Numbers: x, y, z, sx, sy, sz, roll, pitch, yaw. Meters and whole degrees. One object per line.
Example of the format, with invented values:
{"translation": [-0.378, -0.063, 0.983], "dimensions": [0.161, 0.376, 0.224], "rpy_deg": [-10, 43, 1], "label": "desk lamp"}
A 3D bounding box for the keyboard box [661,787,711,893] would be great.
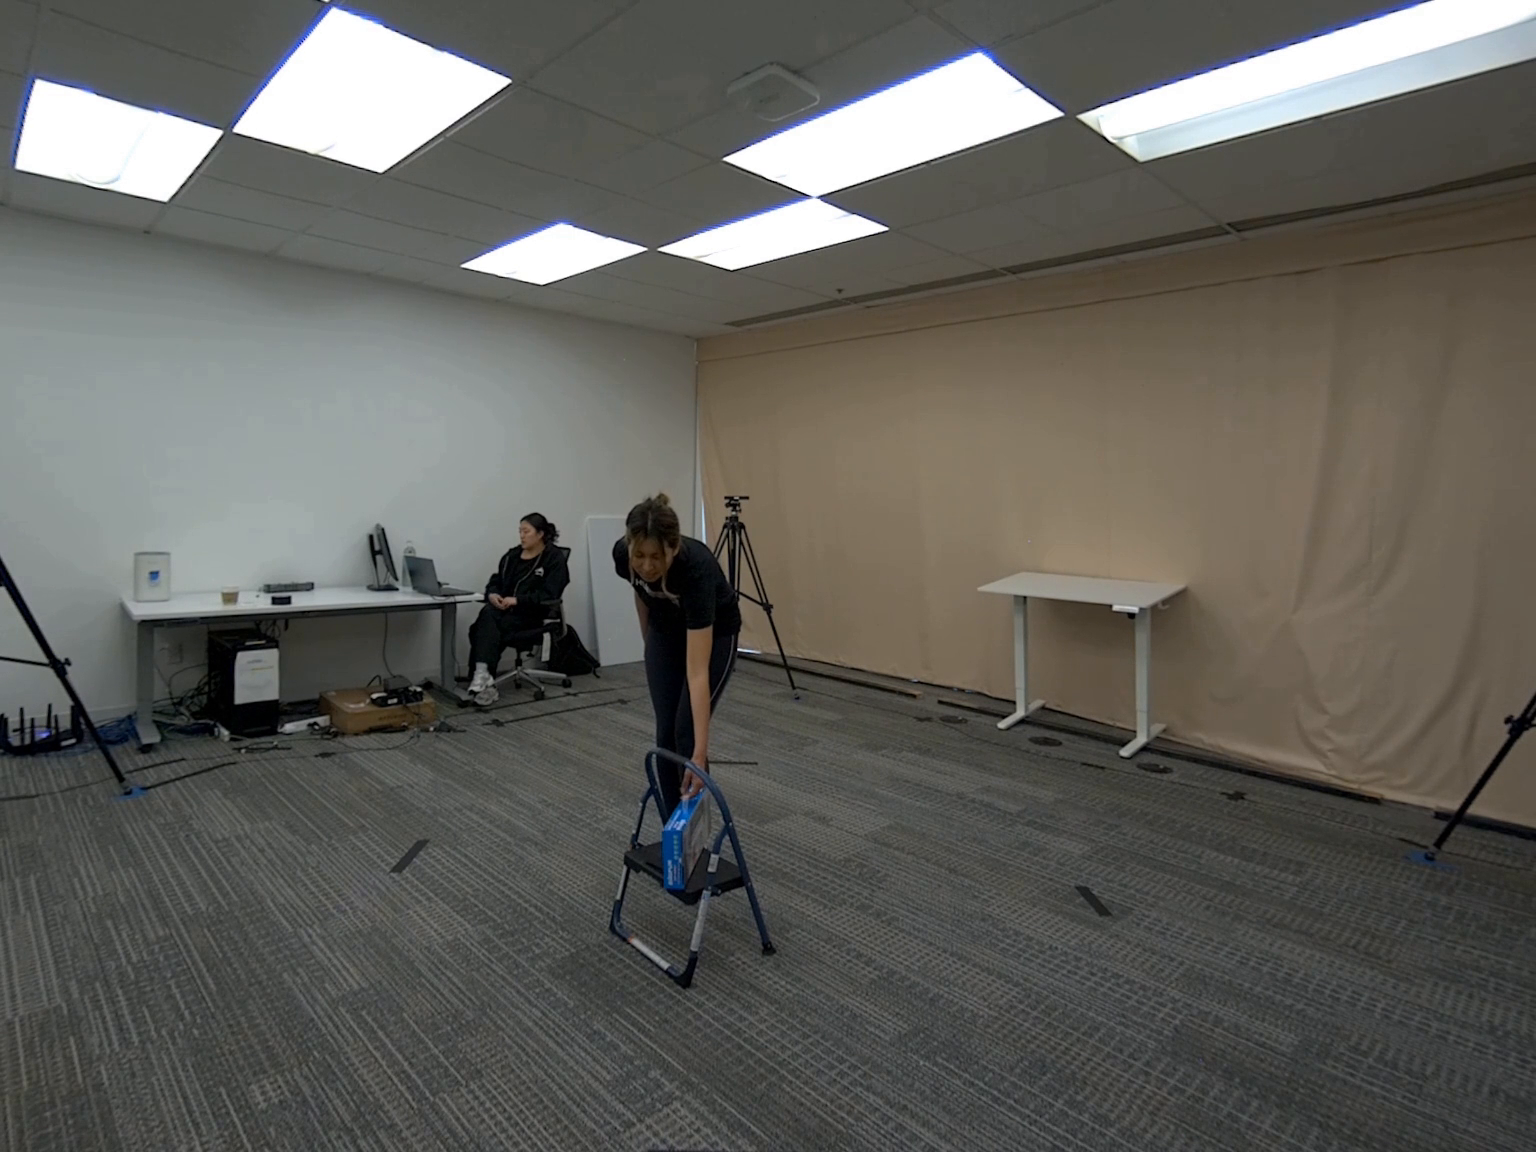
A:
{"translation": [-0.256, 0.797, 2.615], "dimensions": [0.059, 0.175, 0.436], "rpy_deg": [-1, 5, 5], "label": "keyboard box"}
